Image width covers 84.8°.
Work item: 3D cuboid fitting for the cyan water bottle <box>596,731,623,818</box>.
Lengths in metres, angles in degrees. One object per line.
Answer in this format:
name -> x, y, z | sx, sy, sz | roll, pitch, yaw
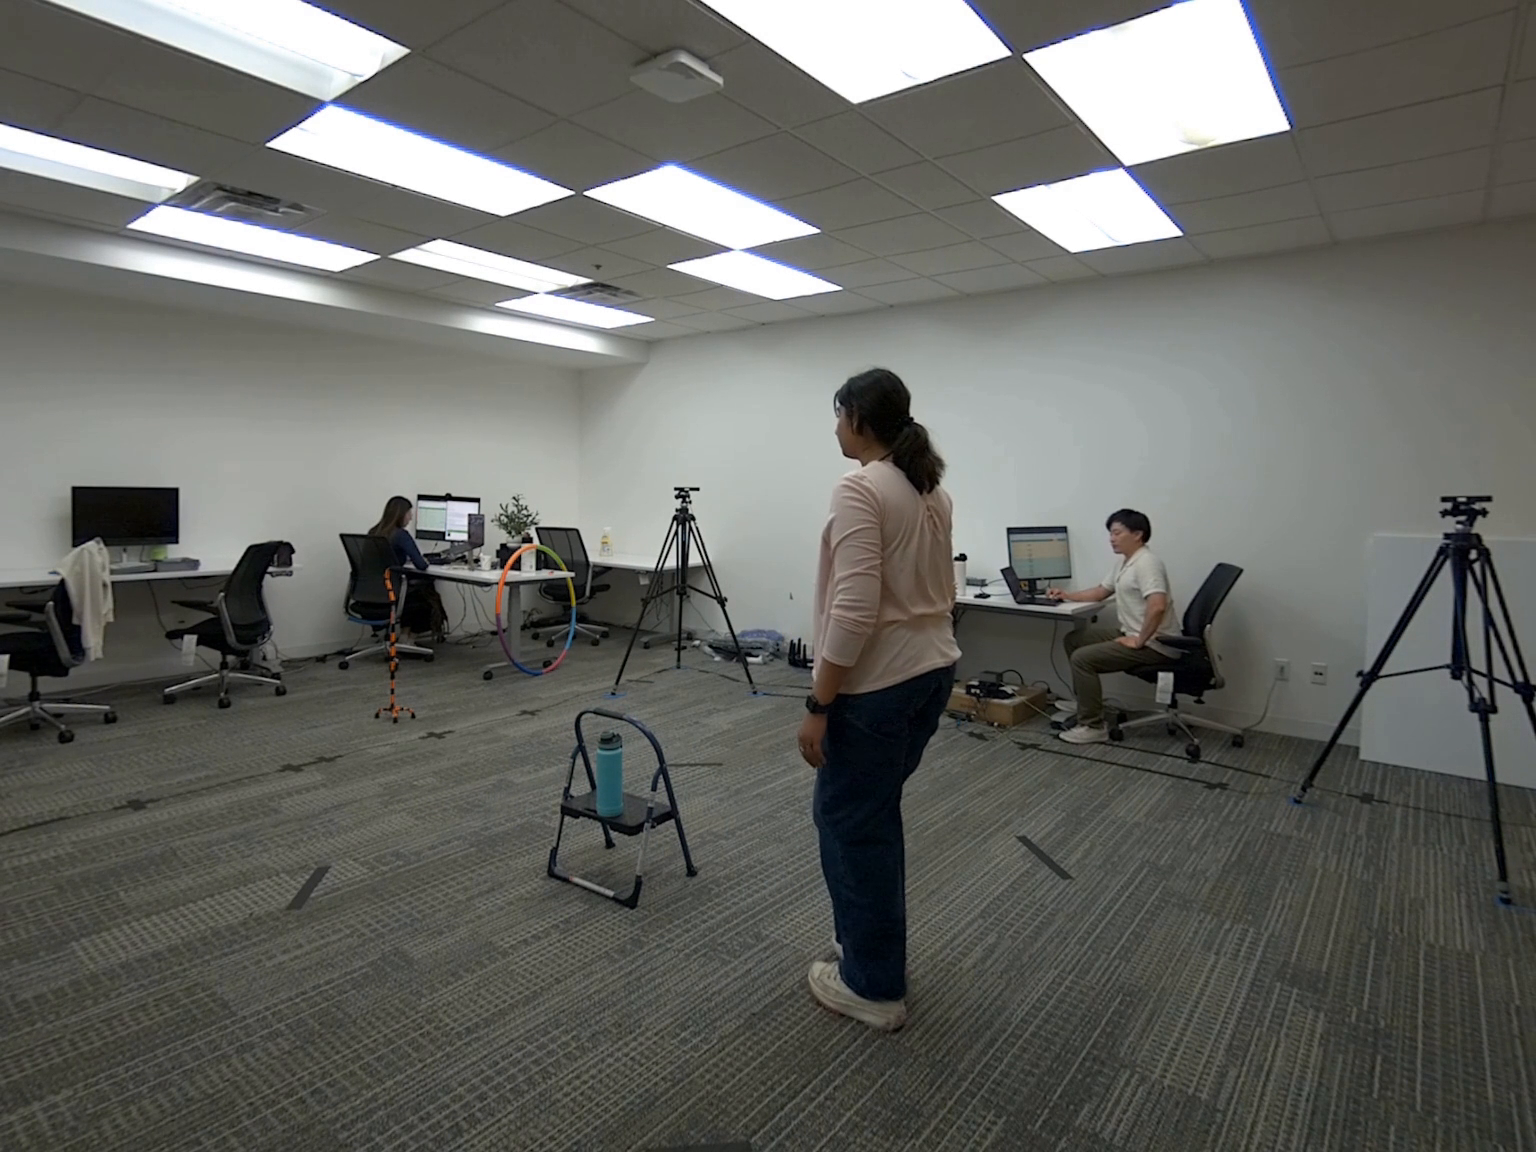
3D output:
cyan water bottle -> -0.555, 0.679, 2.933 | 0.092, 0.282, 0.093 | -2, 3, -2
